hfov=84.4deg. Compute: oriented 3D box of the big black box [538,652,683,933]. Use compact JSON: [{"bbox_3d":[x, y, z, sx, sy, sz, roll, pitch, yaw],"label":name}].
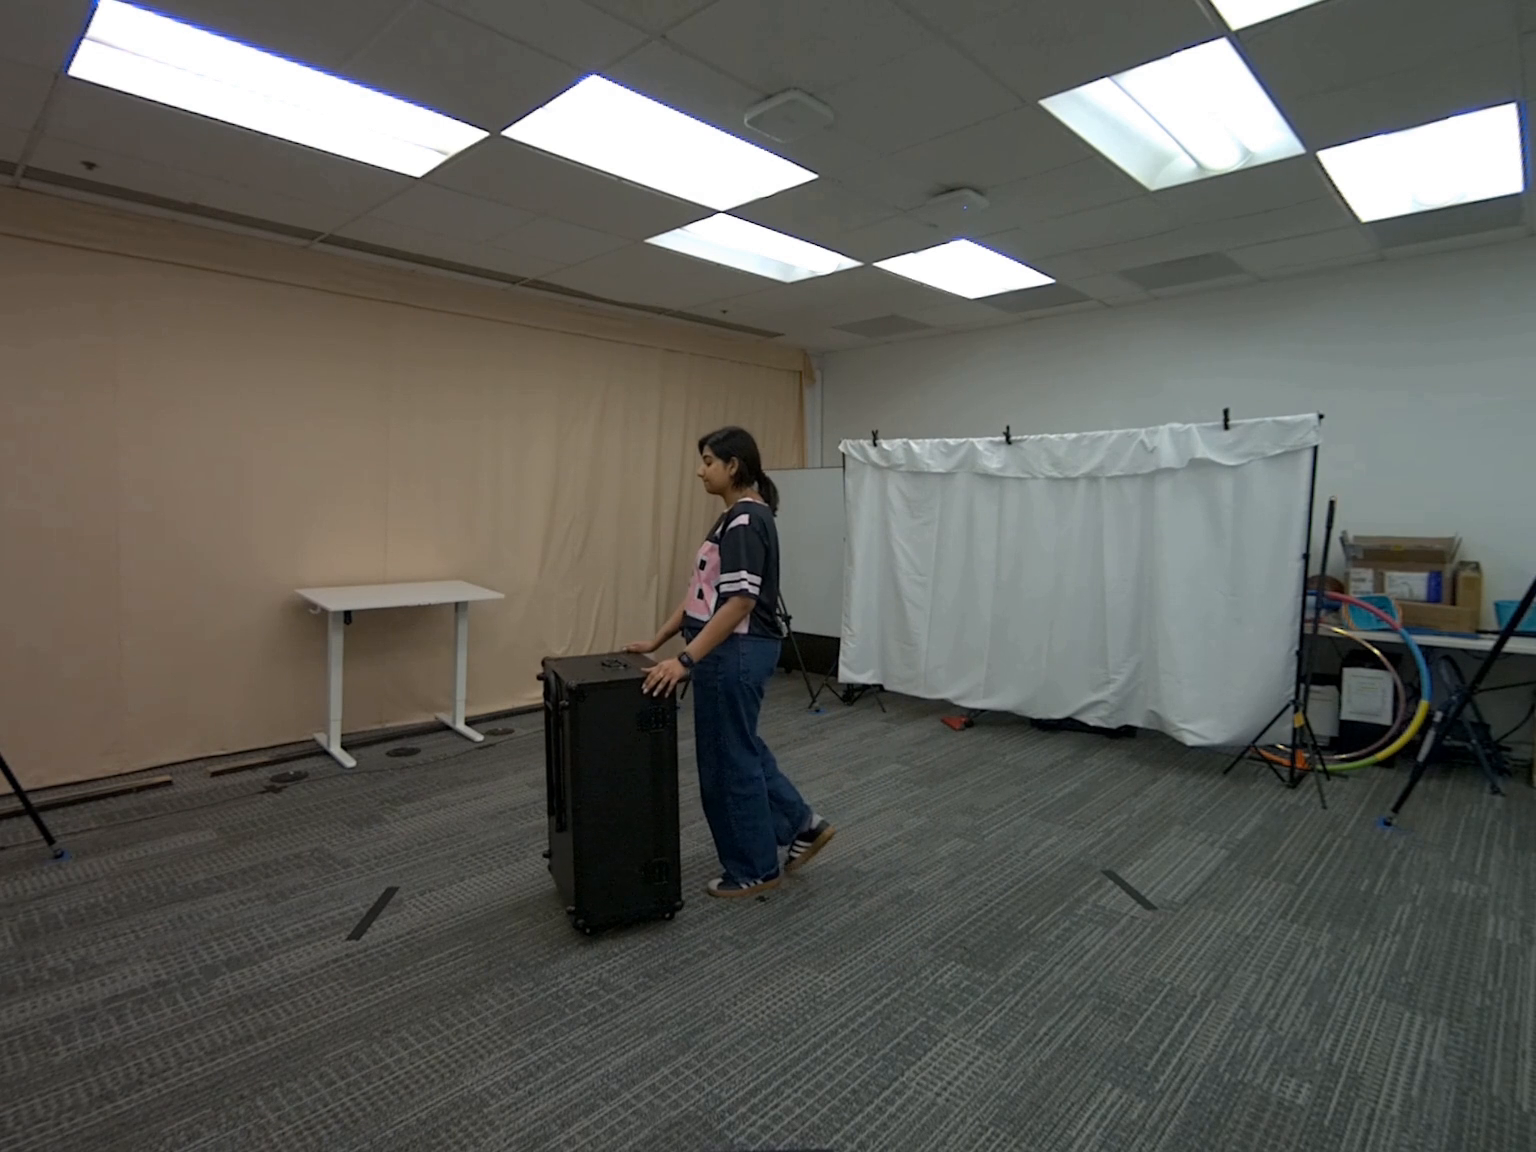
[{"bbox_3d":[-0.544,0.734,2.888,0.377,0.866,0.536,-2,4,-24],"label":"big black box"}]
